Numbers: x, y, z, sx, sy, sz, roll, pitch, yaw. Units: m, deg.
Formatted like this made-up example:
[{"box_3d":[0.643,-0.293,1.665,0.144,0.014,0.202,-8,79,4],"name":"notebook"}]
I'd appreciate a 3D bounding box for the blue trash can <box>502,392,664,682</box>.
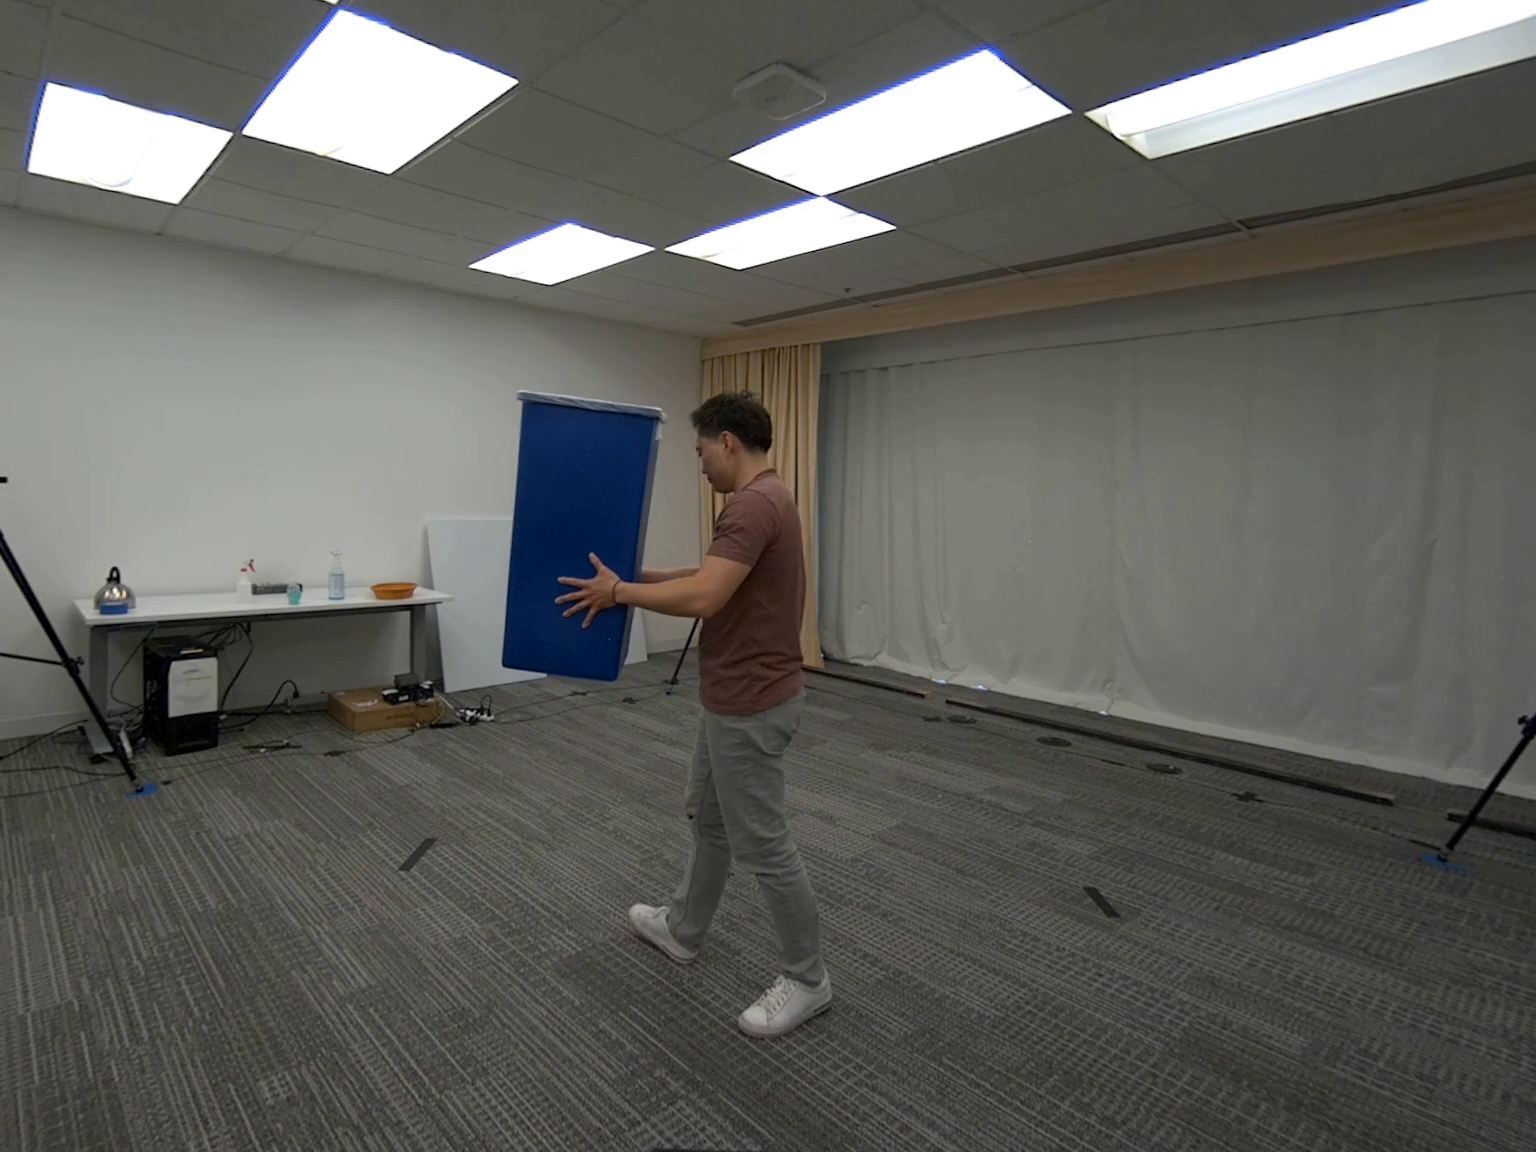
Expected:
[{"box_3d":[-0.515,-0.120,2.289,0.373,0.712,0.380,8,4,-4],"name":"blue trash can"}]
